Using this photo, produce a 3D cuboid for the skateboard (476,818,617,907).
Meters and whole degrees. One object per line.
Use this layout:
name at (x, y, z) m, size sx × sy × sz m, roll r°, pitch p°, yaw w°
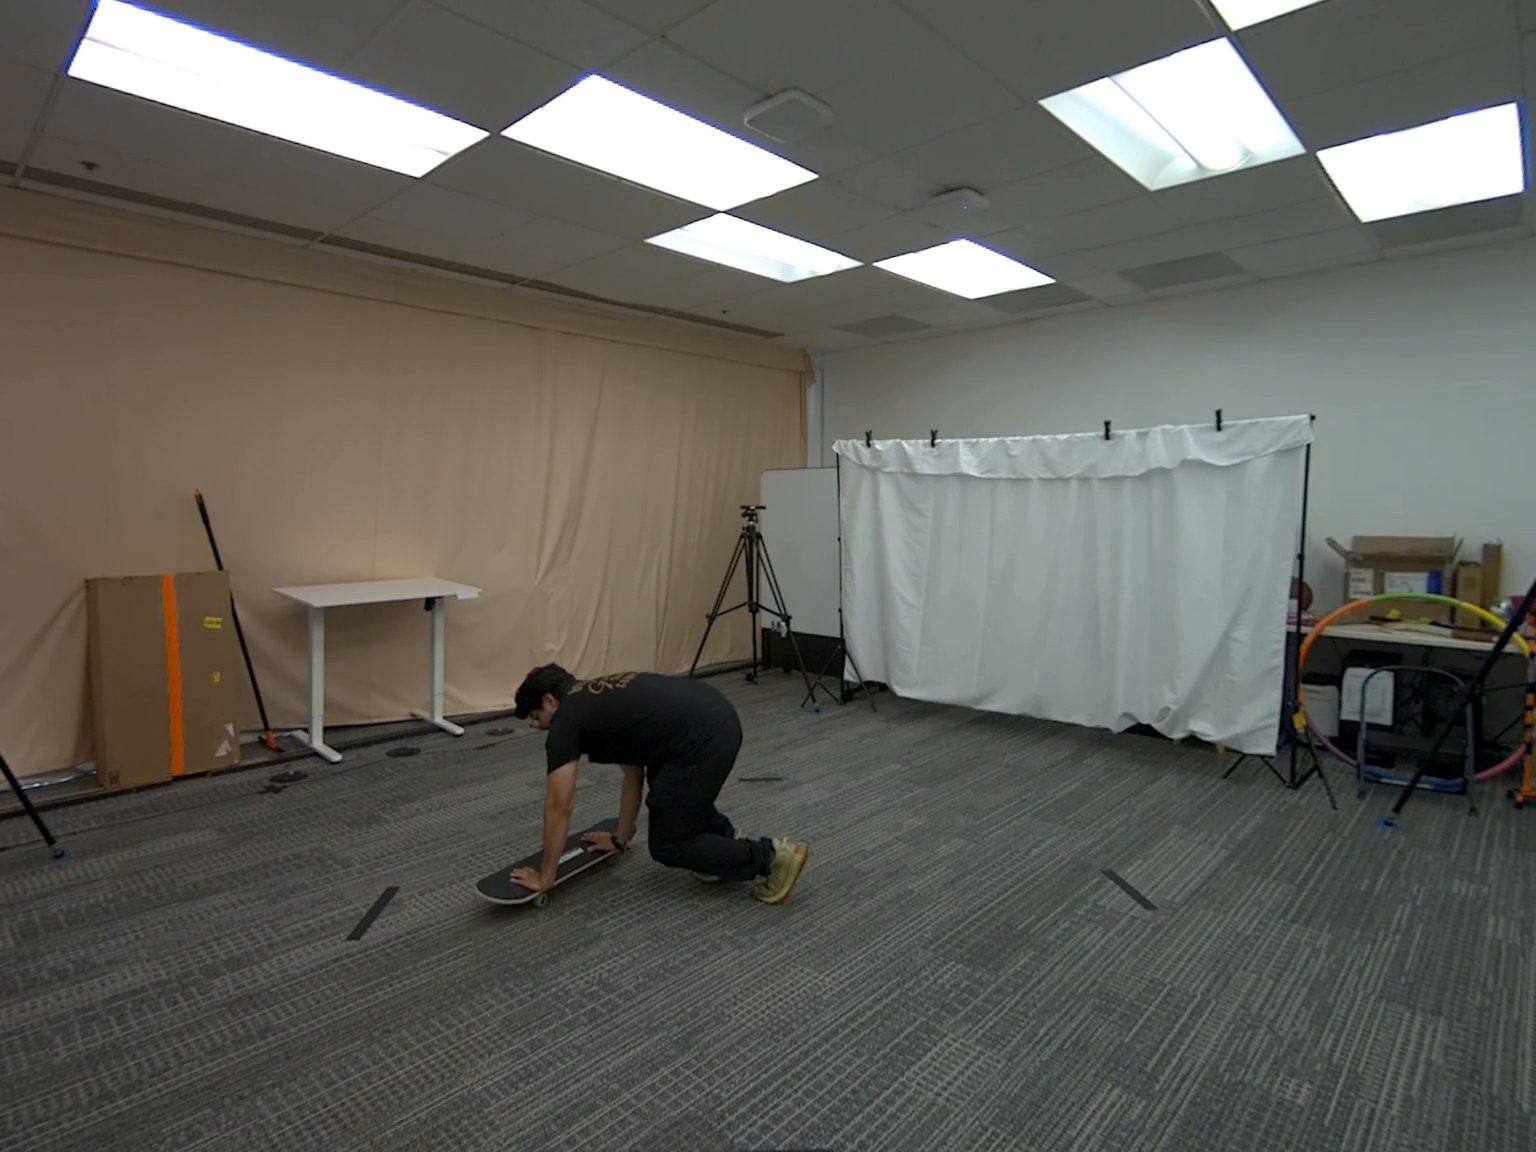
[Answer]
skateboard at (-0.763, 1.082, 3.139) m, size 0.199 × 0.110 × 0.765 m, roll 10°, pitch 9°, yaw 29°
